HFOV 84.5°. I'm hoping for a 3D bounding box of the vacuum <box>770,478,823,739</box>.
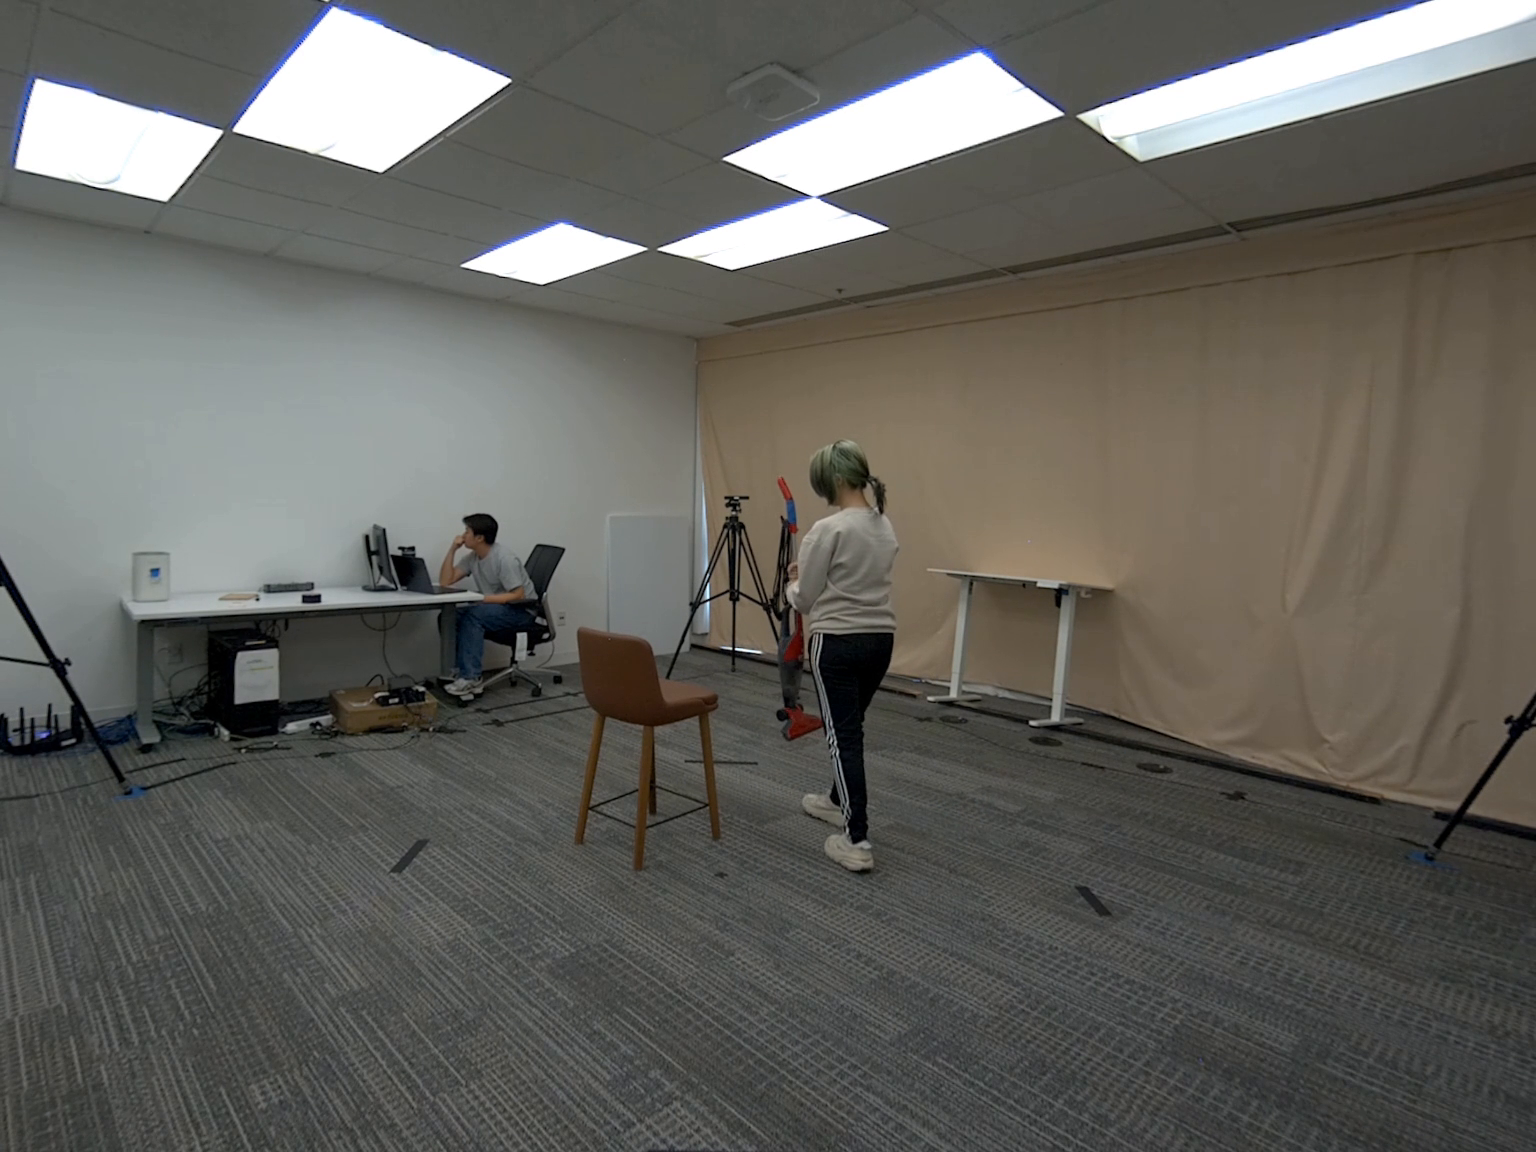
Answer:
[{"bbox_3d":[0.081,0.107,3.630,0.247,1.047,0.147,-7,3,-43],"label":"vacuum"}]
